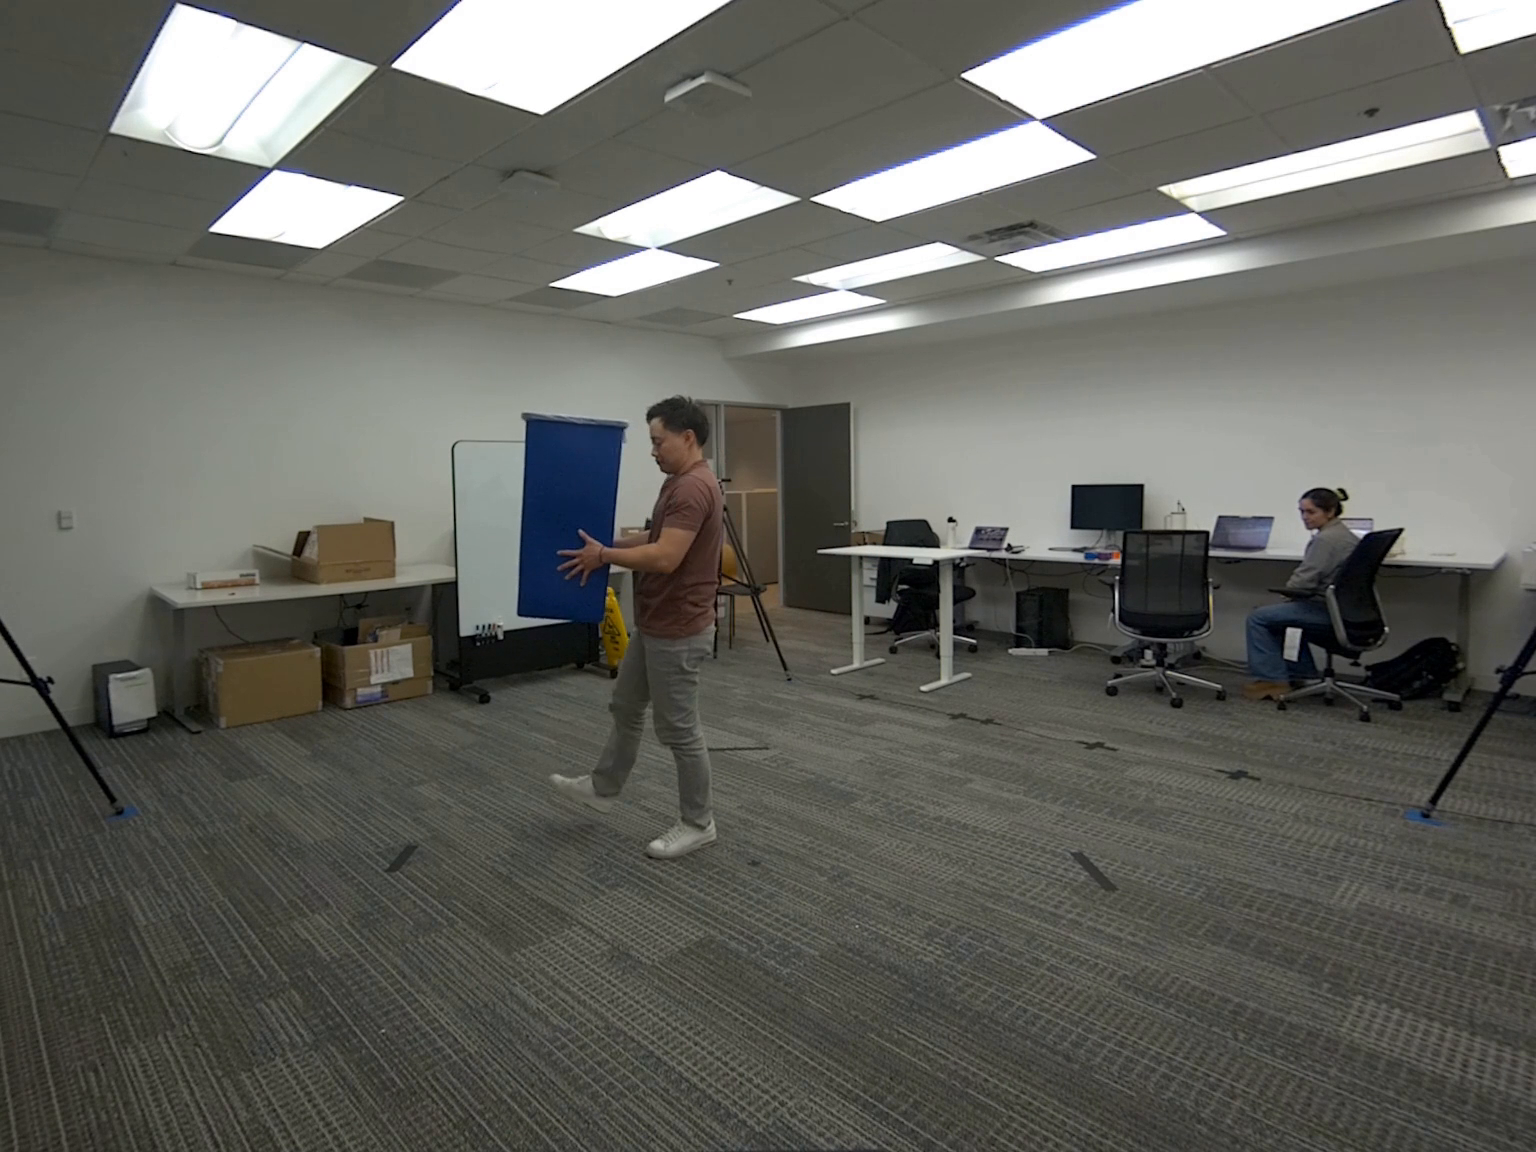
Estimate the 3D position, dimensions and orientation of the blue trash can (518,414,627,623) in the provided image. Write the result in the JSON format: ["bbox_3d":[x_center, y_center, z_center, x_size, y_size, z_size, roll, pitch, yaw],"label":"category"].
[{"bbox_3d":[-0.735,-0.225,3.121,0.369,0.712,0.383,5,3,-12],"label":"blue trash can"}]
